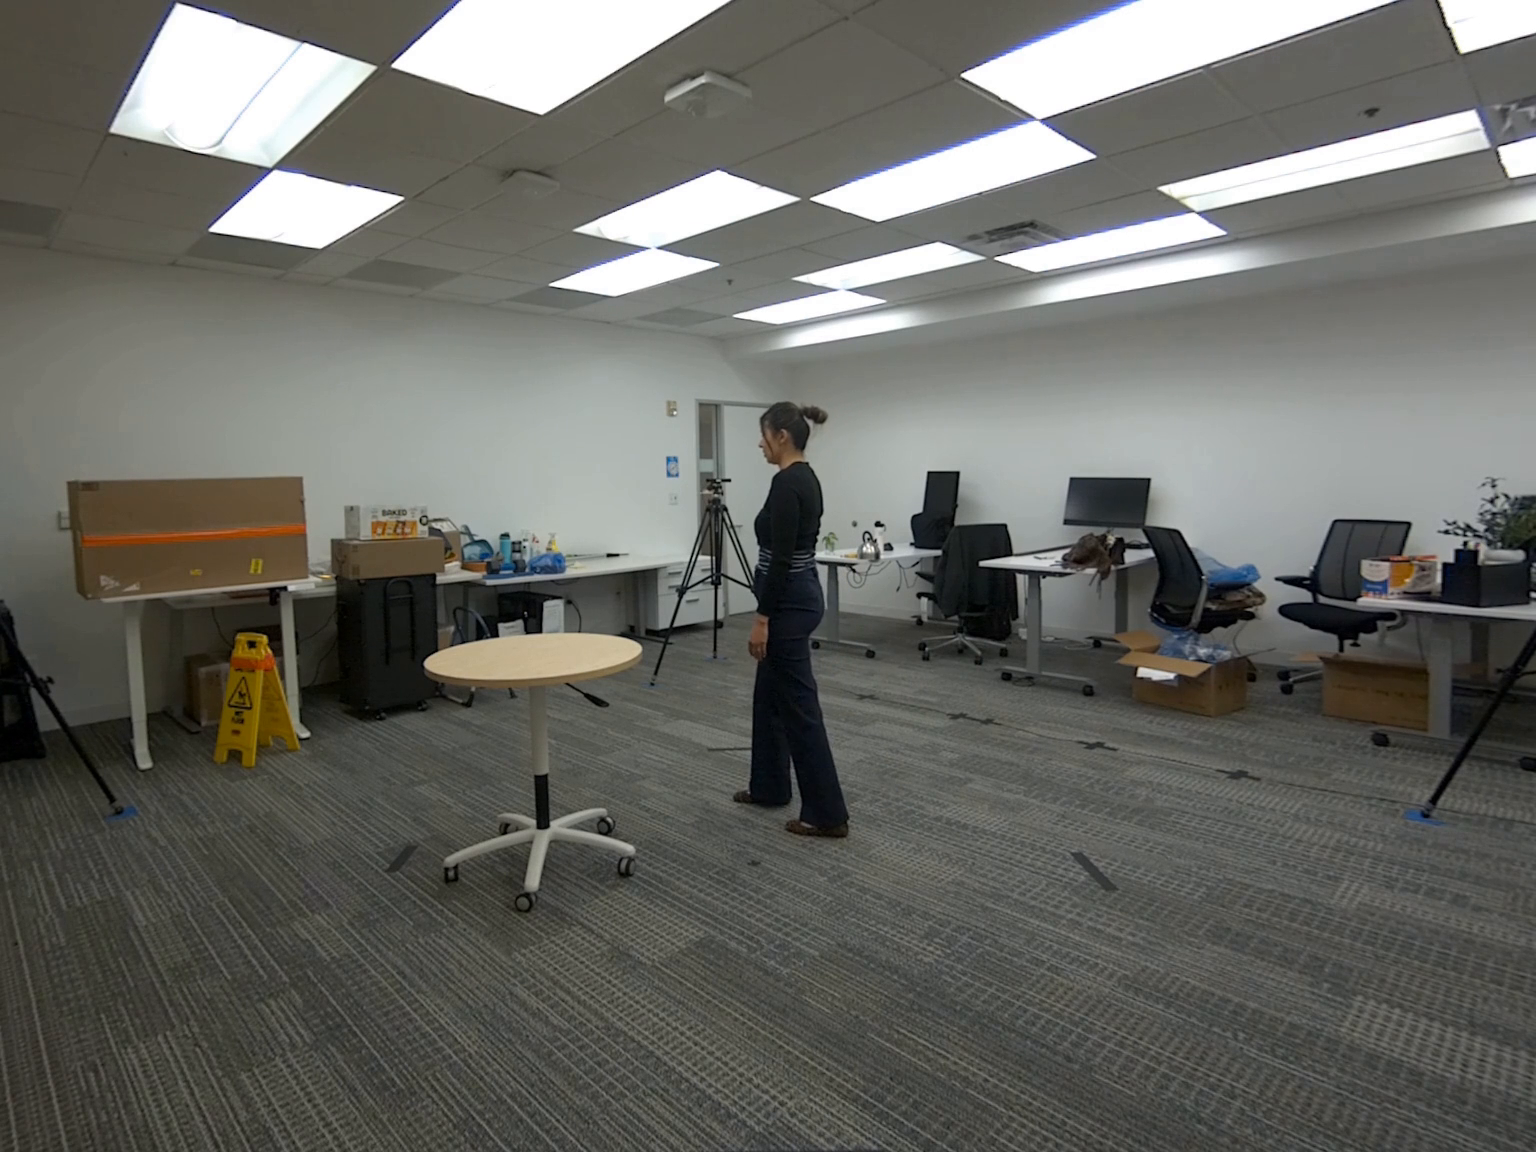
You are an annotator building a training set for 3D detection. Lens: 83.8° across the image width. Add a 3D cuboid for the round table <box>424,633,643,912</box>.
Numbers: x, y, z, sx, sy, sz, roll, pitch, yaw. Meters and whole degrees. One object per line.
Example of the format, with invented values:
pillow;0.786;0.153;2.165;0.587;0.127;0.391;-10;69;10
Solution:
round table;-0.819;0.670;3.109;0.763;0.791;0.768;-2;5;-2
